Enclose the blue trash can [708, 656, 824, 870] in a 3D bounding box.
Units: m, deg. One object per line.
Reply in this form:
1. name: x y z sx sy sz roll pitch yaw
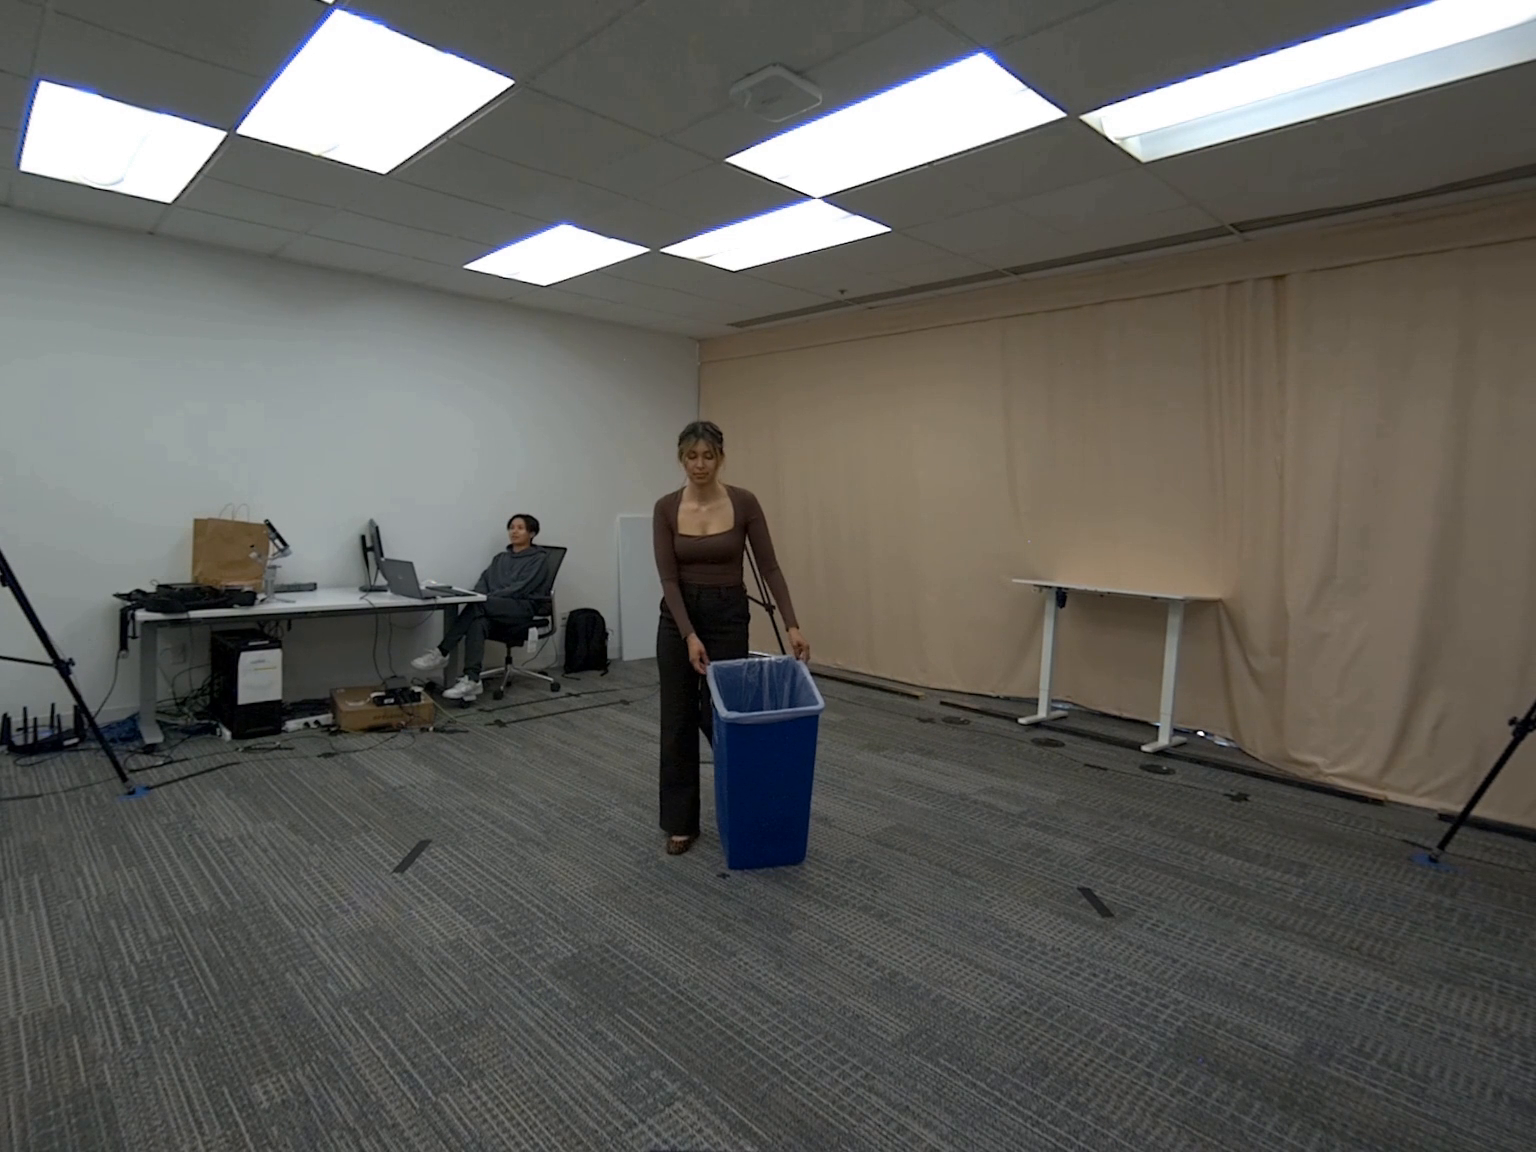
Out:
1. blue trash can: -0.037 0.715 3.162 0.371 0.703 0.387 -3 22 -11
